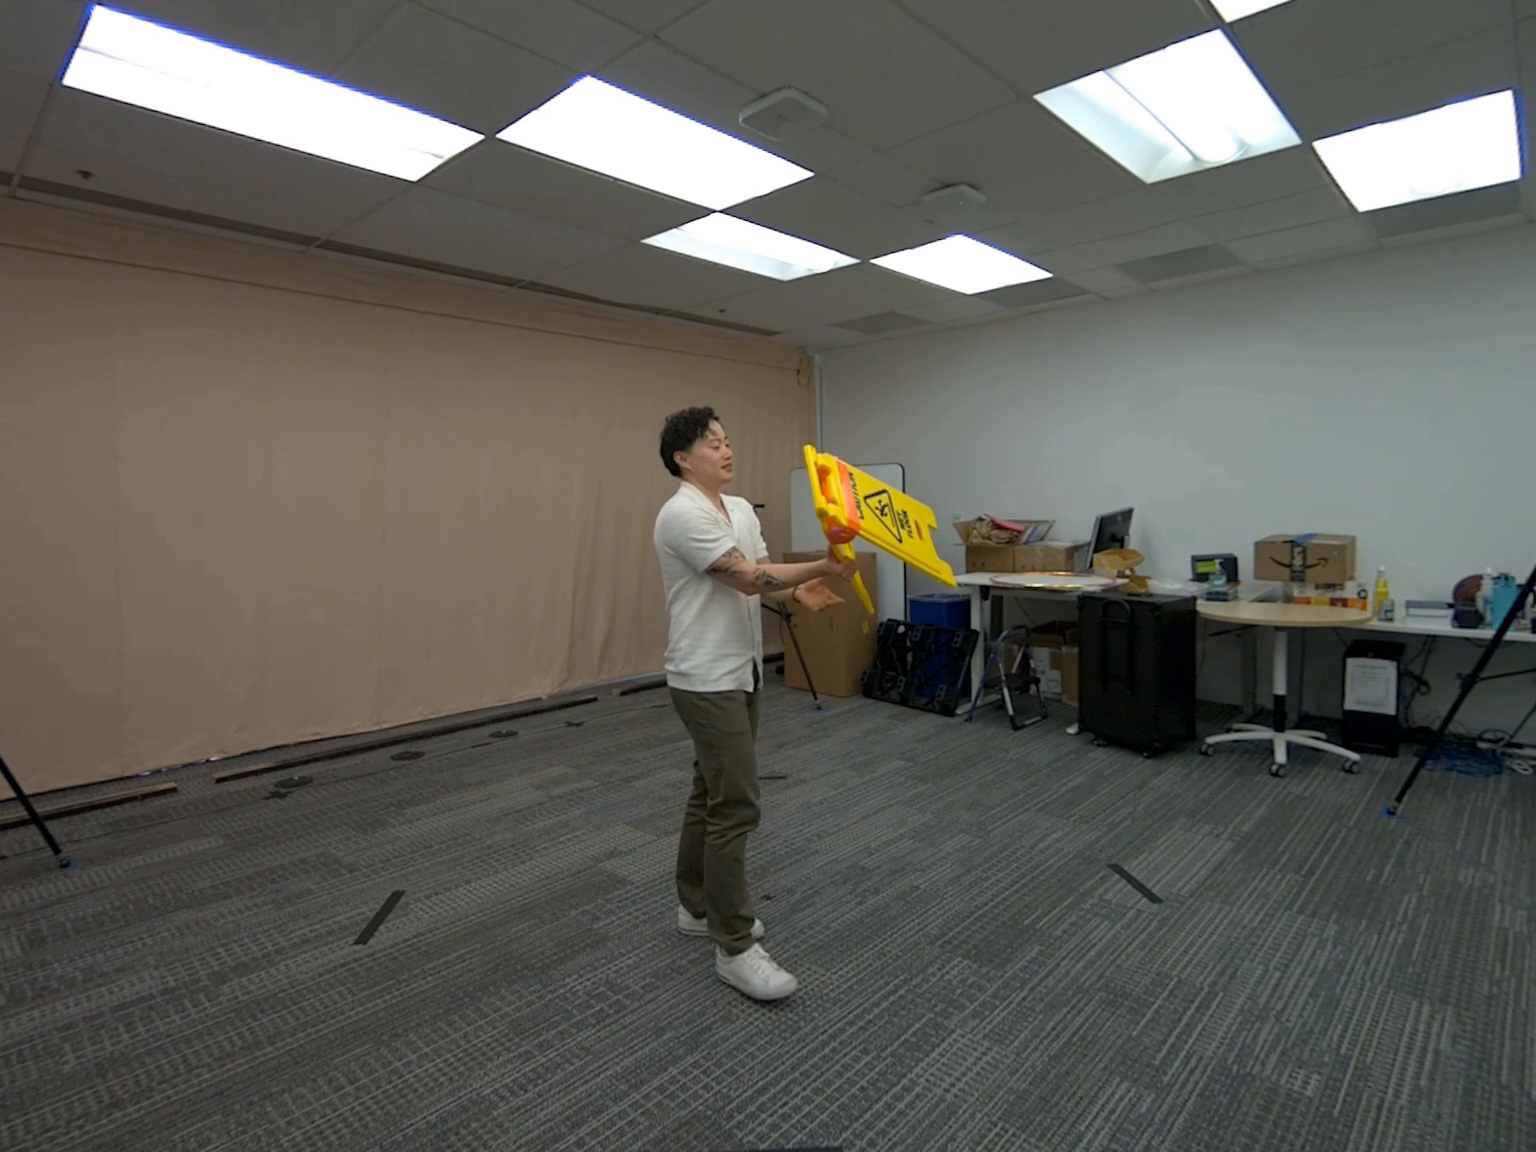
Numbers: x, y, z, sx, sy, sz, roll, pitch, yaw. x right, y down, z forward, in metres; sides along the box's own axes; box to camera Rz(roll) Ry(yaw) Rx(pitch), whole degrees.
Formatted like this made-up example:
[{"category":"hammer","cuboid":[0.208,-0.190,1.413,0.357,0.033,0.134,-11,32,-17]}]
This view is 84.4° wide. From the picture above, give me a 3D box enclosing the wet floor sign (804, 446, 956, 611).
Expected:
[{"category":"wet floor sign","cuboid":[0.272,-0.145,2.372,0.294,0.288,0.623,-21,-30,22]}]
